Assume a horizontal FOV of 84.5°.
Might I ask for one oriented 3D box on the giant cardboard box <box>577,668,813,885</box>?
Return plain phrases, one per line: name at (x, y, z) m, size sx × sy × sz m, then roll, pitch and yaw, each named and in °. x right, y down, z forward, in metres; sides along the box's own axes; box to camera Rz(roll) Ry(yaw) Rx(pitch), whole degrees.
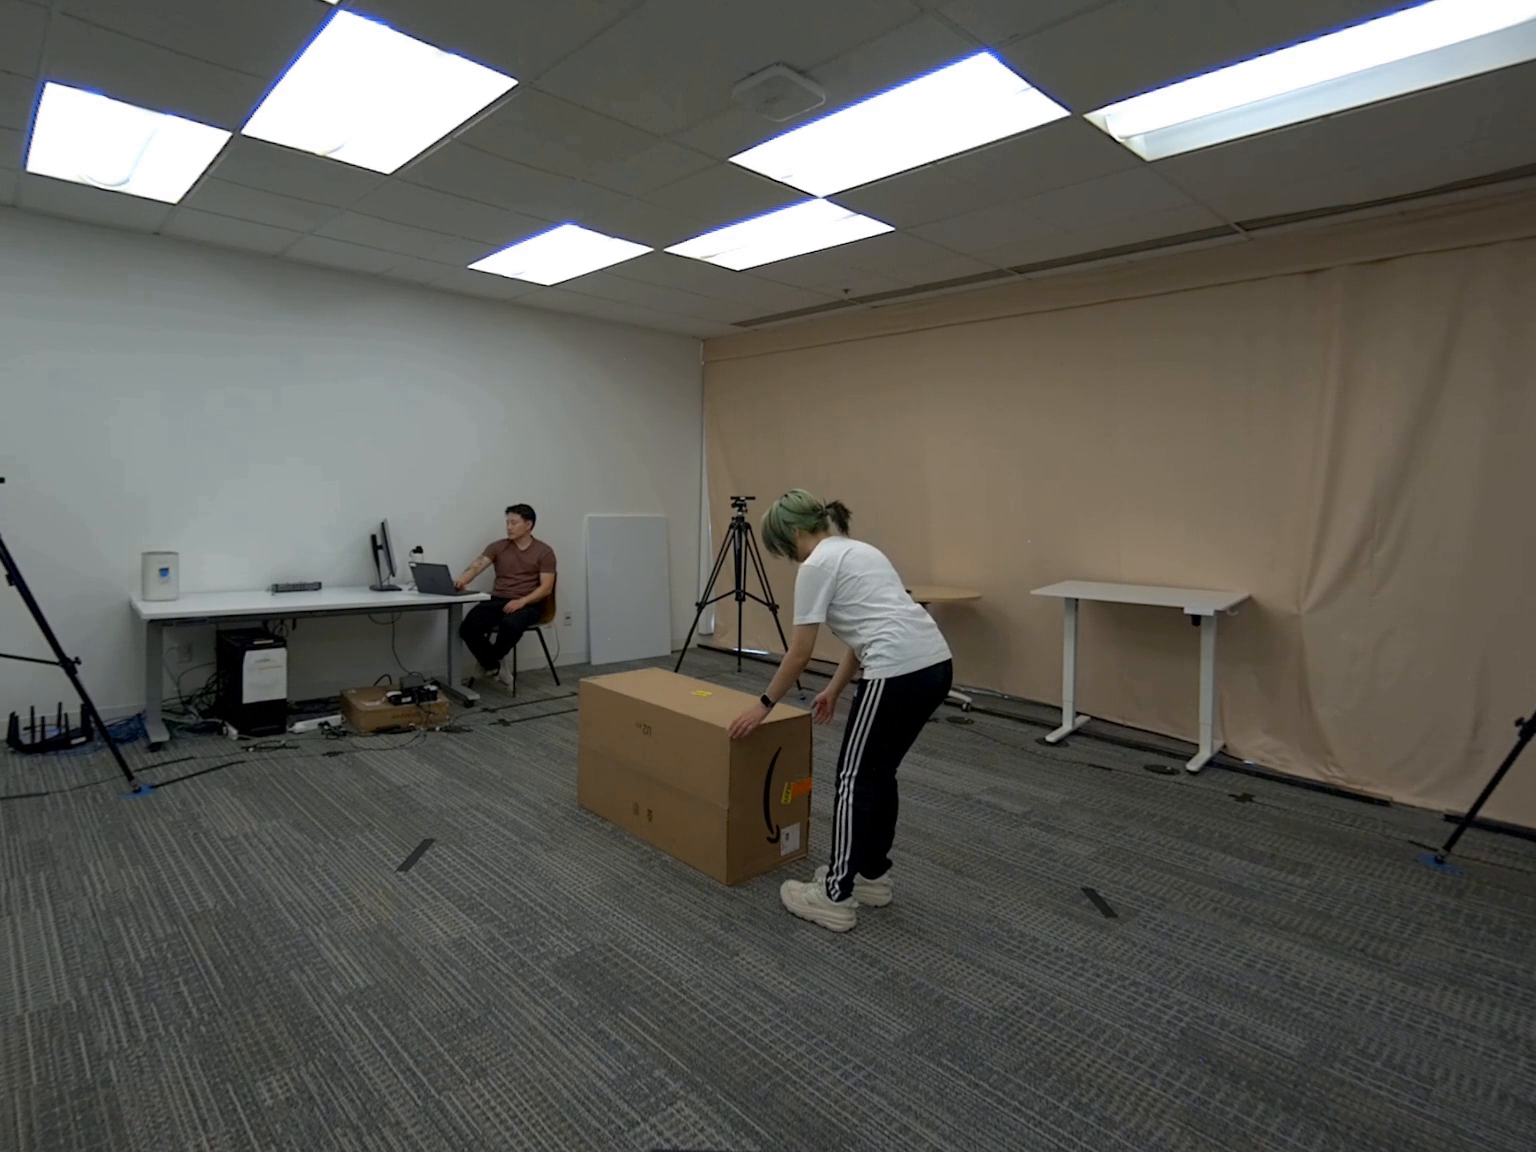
giant cardboard box at (-0.346, 0.775, 3.514) m, size 0.436 × 0.582 × 1.054 m, roll -1°, pitch 5°, yaw -43°
